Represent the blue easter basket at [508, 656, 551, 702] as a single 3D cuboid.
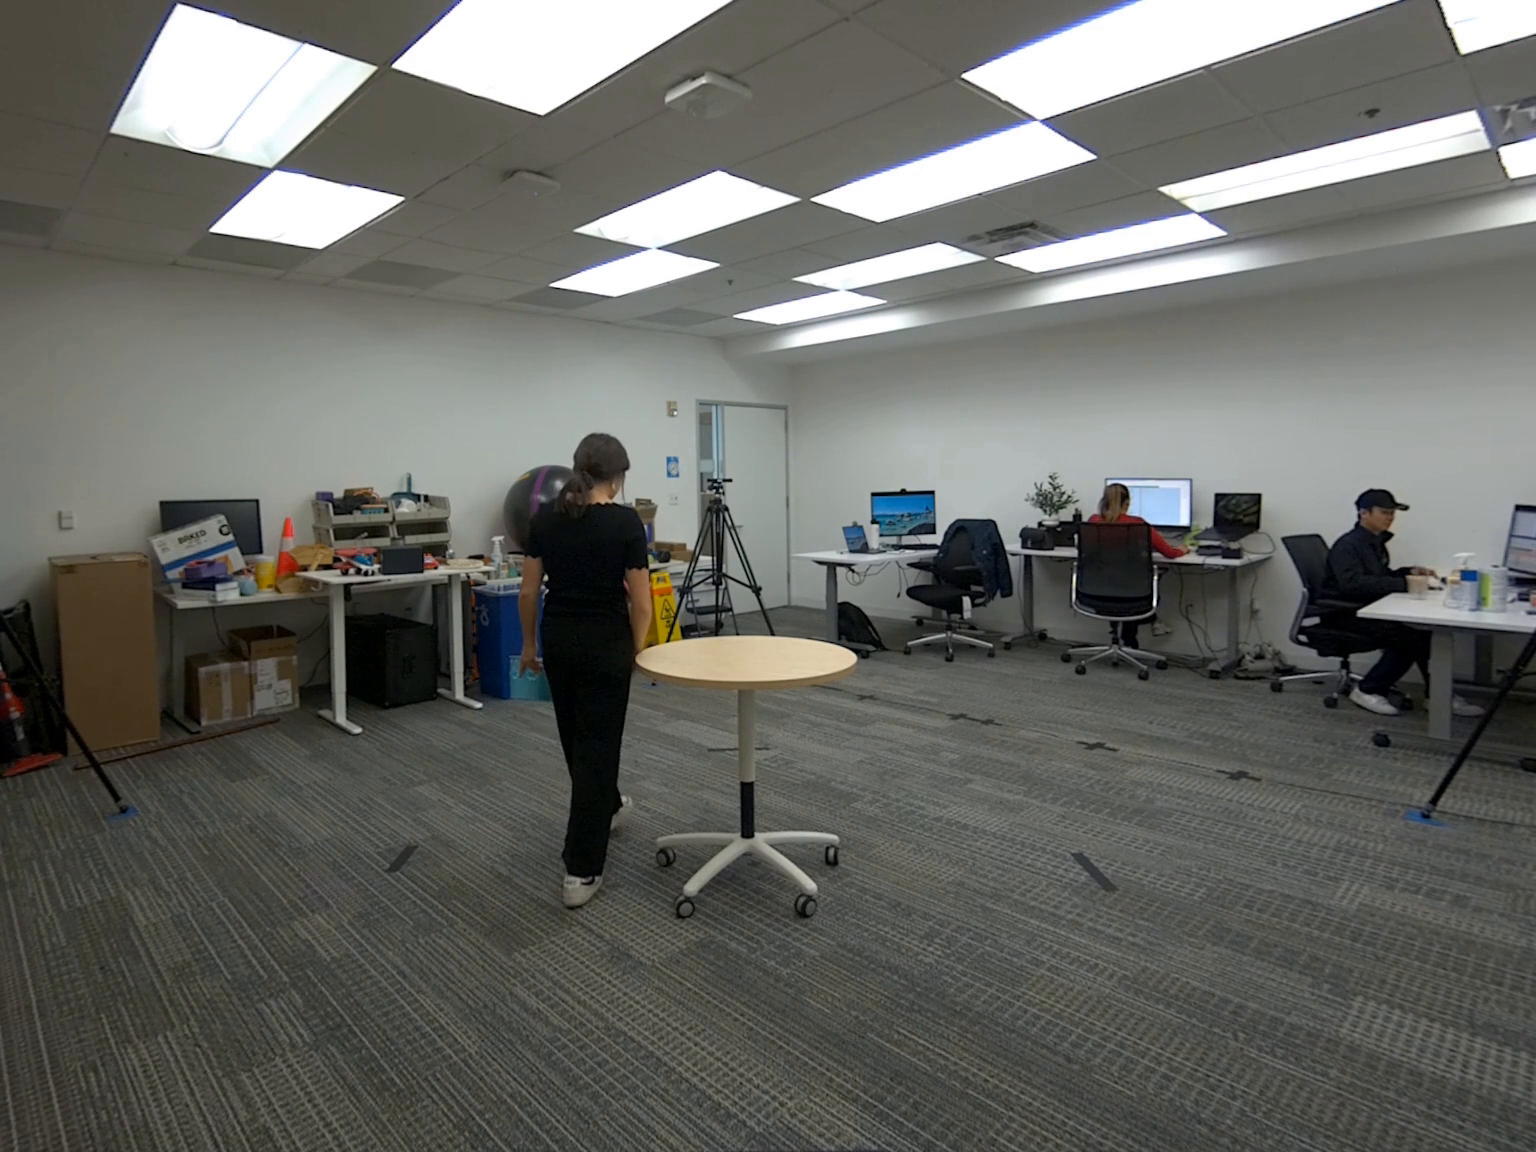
[{"bbox_3d":[-0.889,0.394,3.286,0.244,0.157,0.241,4,-10,-1],"label":"blue easter basket"}]
